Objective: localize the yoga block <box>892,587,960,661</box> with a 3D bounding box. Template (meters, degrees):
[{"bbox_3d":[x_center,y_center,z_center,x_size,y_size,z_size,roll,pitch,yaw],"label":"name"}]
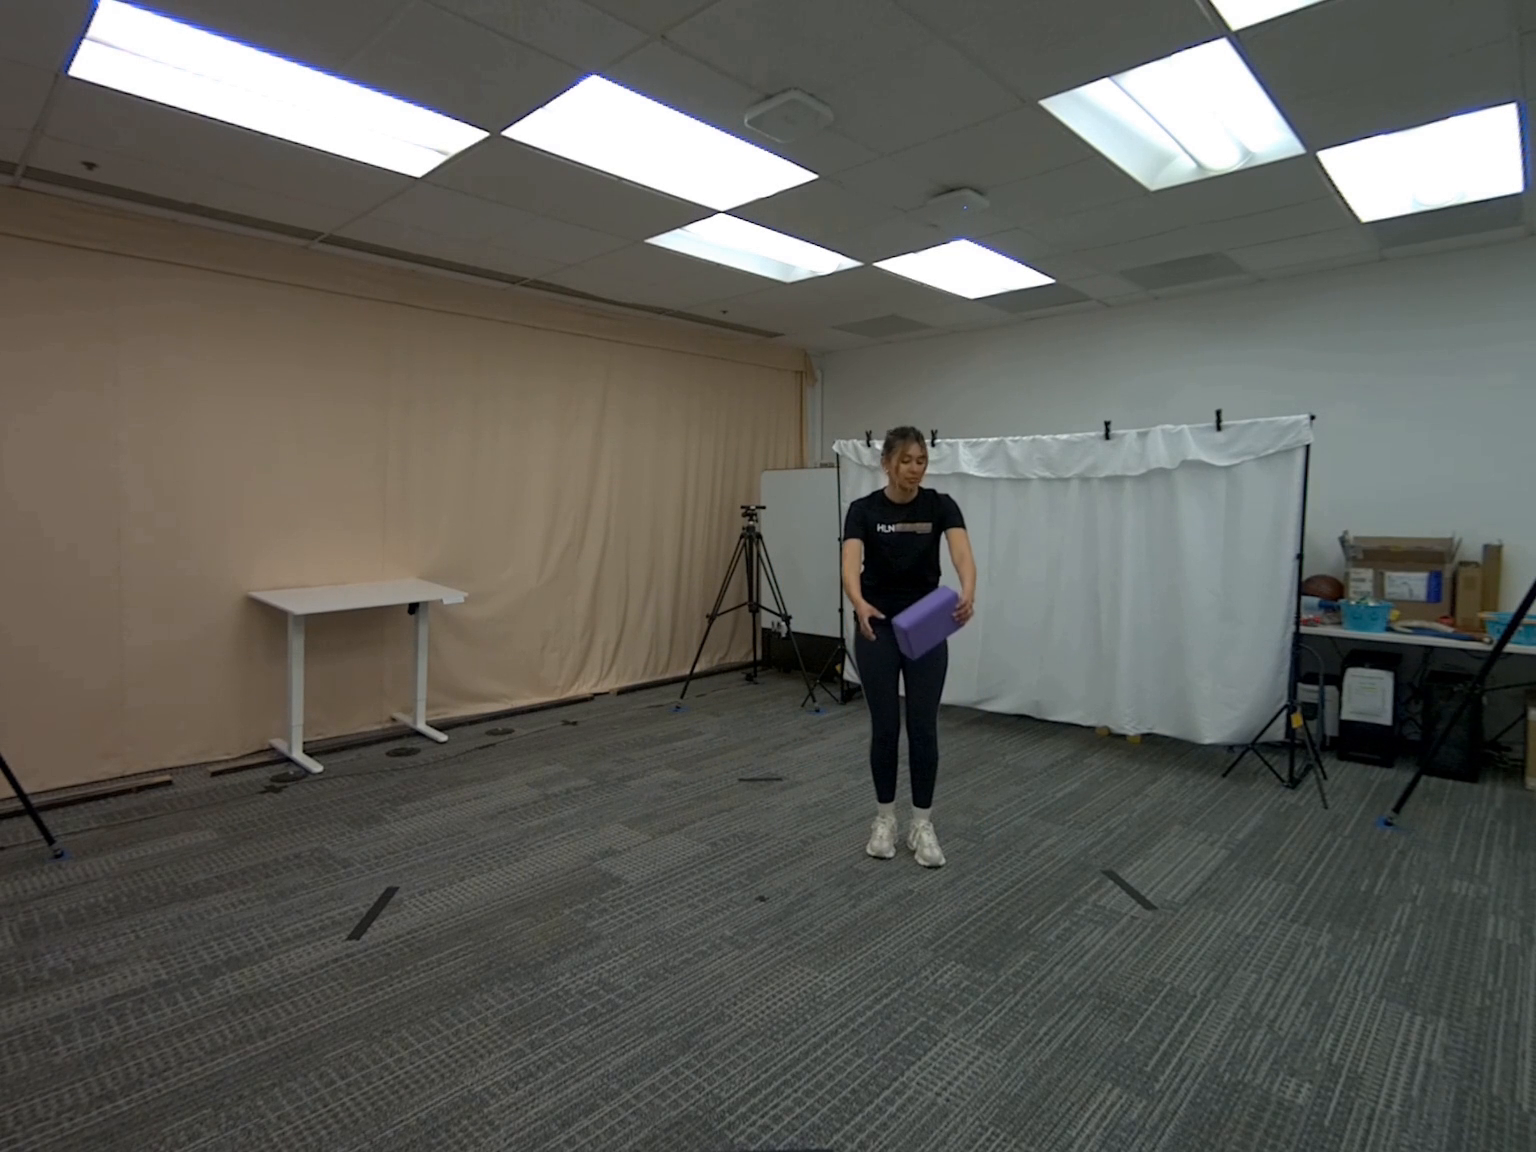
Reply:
[{"bbox_3d":[0.525,0.158,2.763,0.227,0.145,0.079,-31,31,-14],"label":"yoga block"}]
